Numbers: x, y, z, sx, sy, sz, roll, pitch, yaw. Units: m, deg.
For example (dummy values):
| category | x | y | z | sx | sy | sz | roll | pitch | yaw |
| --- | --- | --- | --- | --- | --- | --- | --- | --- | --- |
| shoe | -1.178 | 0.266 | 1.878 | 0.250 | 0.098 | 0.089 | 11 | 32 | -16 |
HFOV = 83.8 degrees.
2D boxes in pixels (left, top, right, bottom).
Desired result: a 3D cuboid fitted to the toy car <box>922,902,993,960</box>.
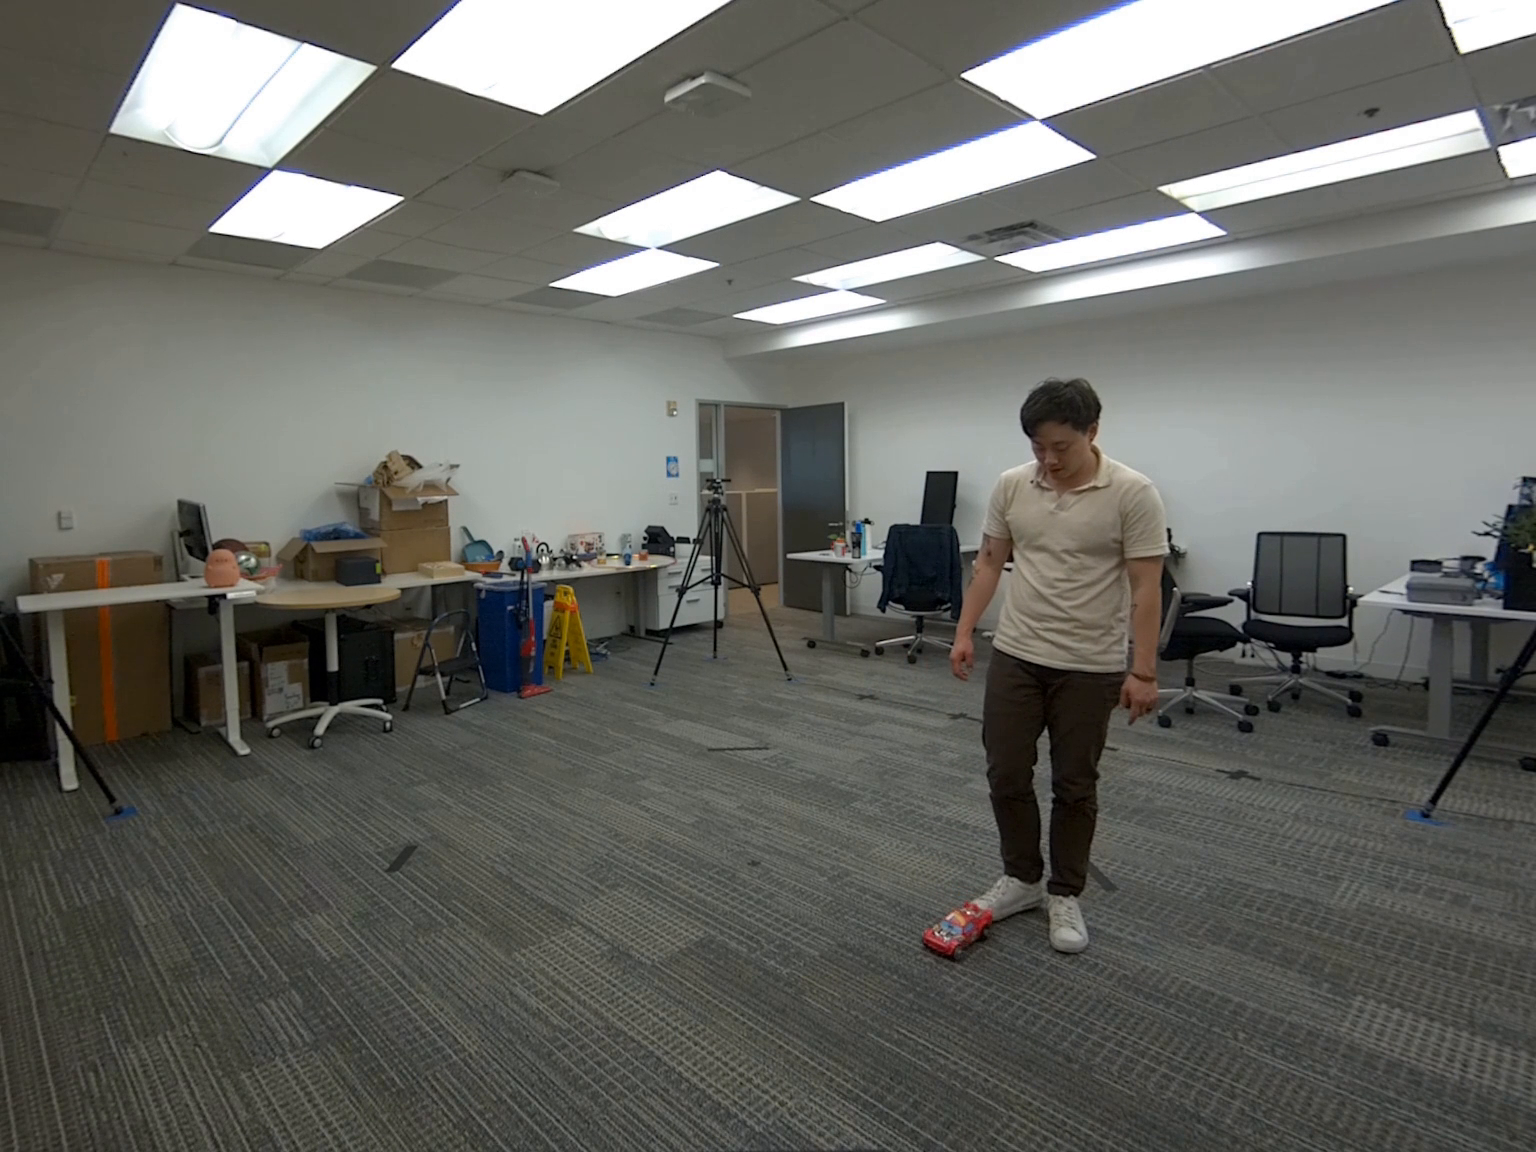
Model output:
| category | x | y | z | sx | sy | sz | roll | pitch | yaw |
| --- | --- | --- | --- | --- | --- | --- | --- | --- | --- |
| toy car | 0.586 | 1.064 | 2.562 | 0.250 | 0.082 | 0.134 | -22 | 19 | -39 |
